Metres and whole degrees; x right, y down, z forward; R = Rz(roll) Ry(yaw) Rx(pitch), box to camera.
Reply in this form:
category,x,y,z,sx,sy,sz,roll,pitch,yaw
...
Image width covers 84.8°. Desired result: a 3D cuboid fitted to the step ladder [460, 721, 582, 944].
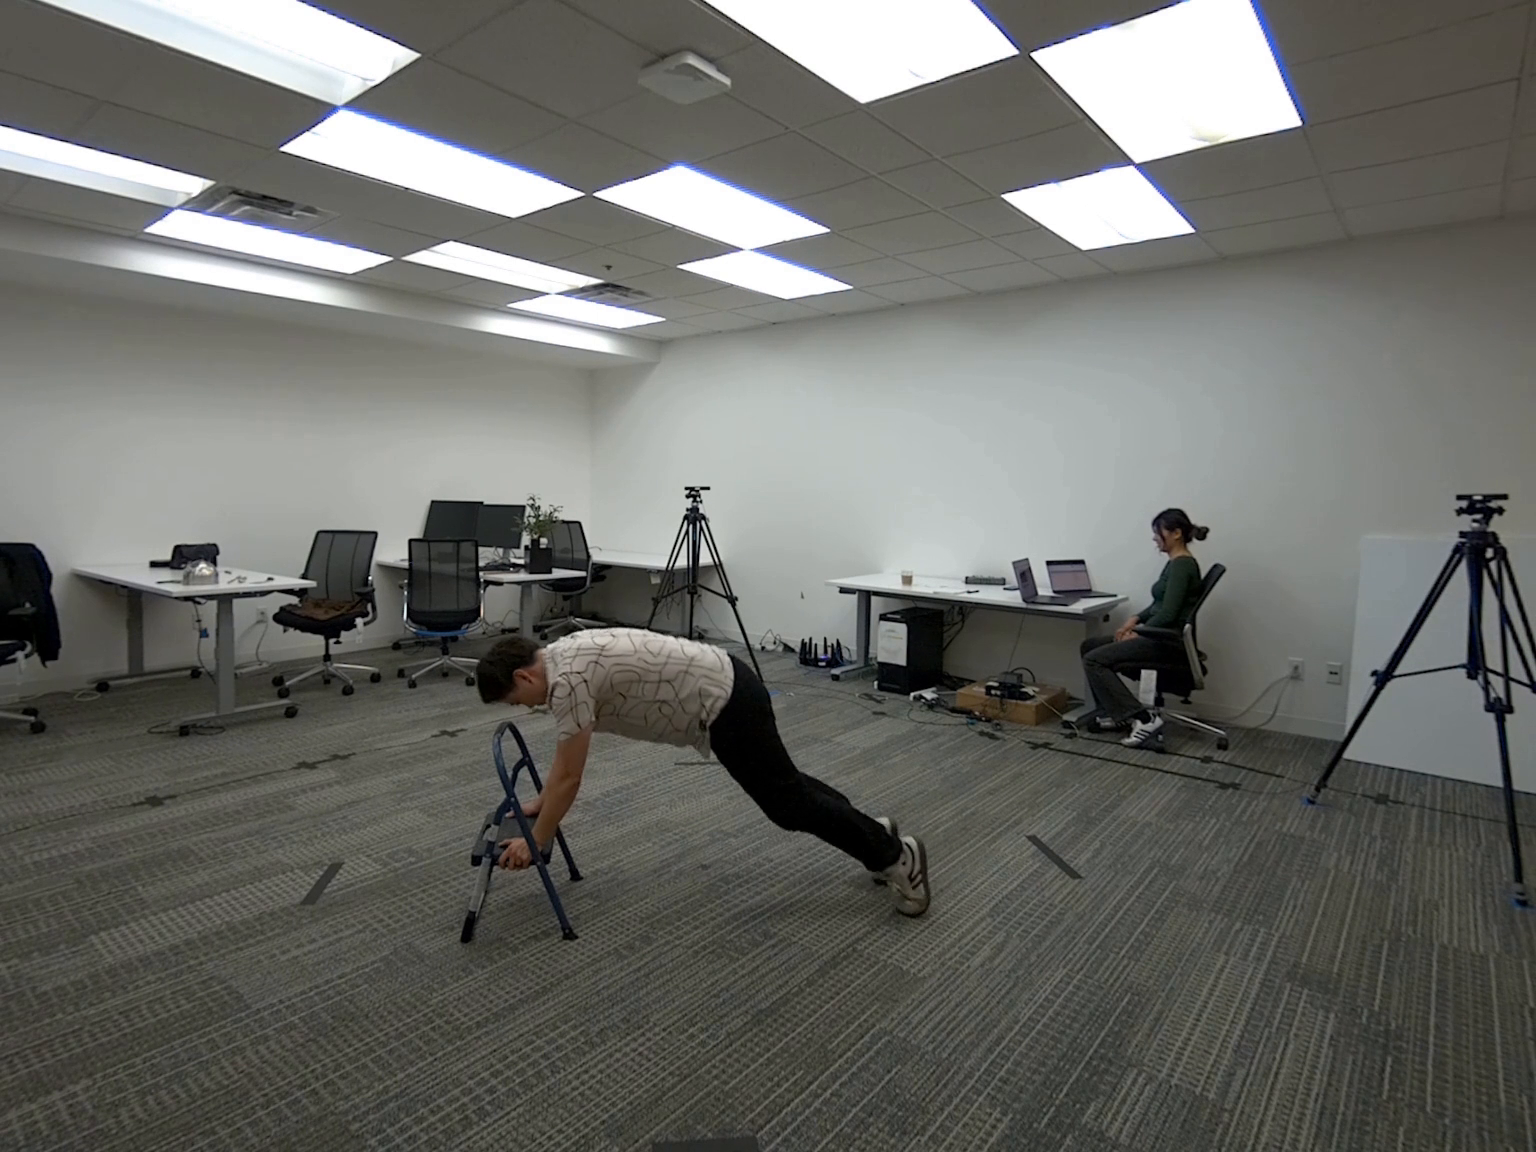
category,x,y,z,sx,sy,sz,roll,pitch,yaw
step ladder,-0.805,0.792,2.780,0.346,0.604,0.436,1,4,-9
